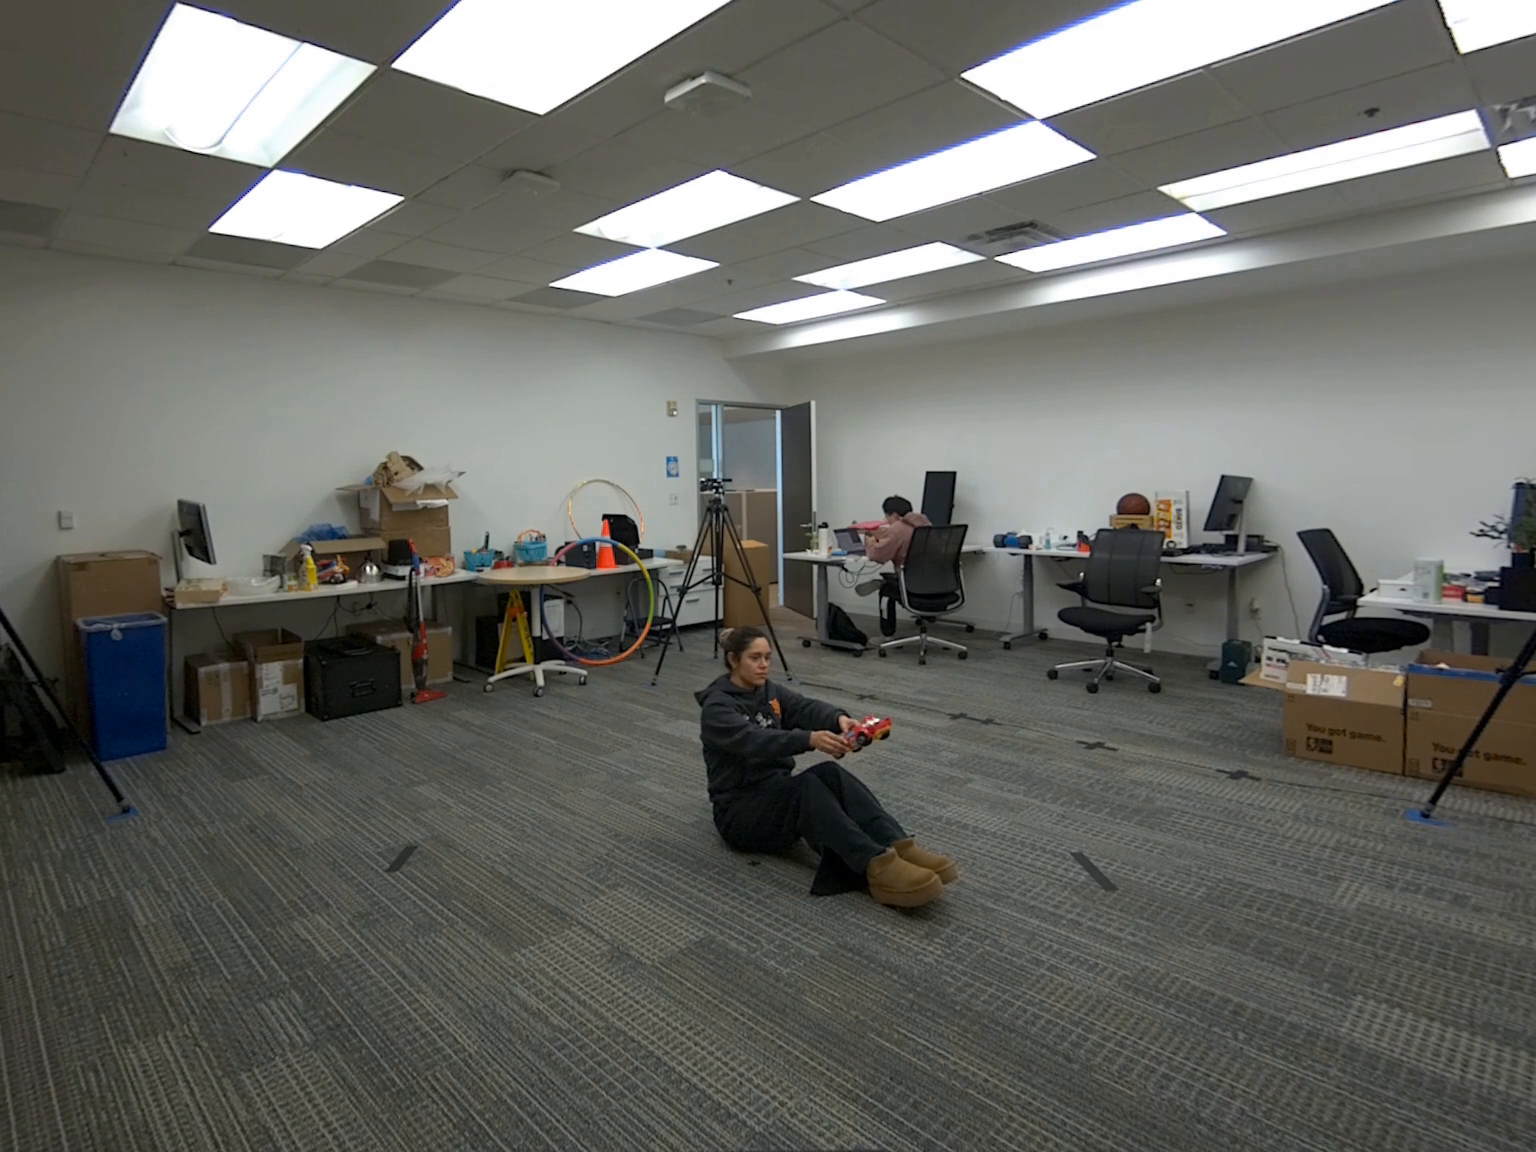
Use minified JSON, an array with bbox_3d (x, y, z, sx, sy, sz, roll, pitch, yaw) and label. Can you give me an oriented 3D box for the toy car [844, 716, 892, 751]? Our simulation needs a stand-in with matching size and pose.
[{"bbox_3d":[0.318,0.545,2.852,0.127,0.086,0.252,-8,-35,-38],"label":"toy car"}]
